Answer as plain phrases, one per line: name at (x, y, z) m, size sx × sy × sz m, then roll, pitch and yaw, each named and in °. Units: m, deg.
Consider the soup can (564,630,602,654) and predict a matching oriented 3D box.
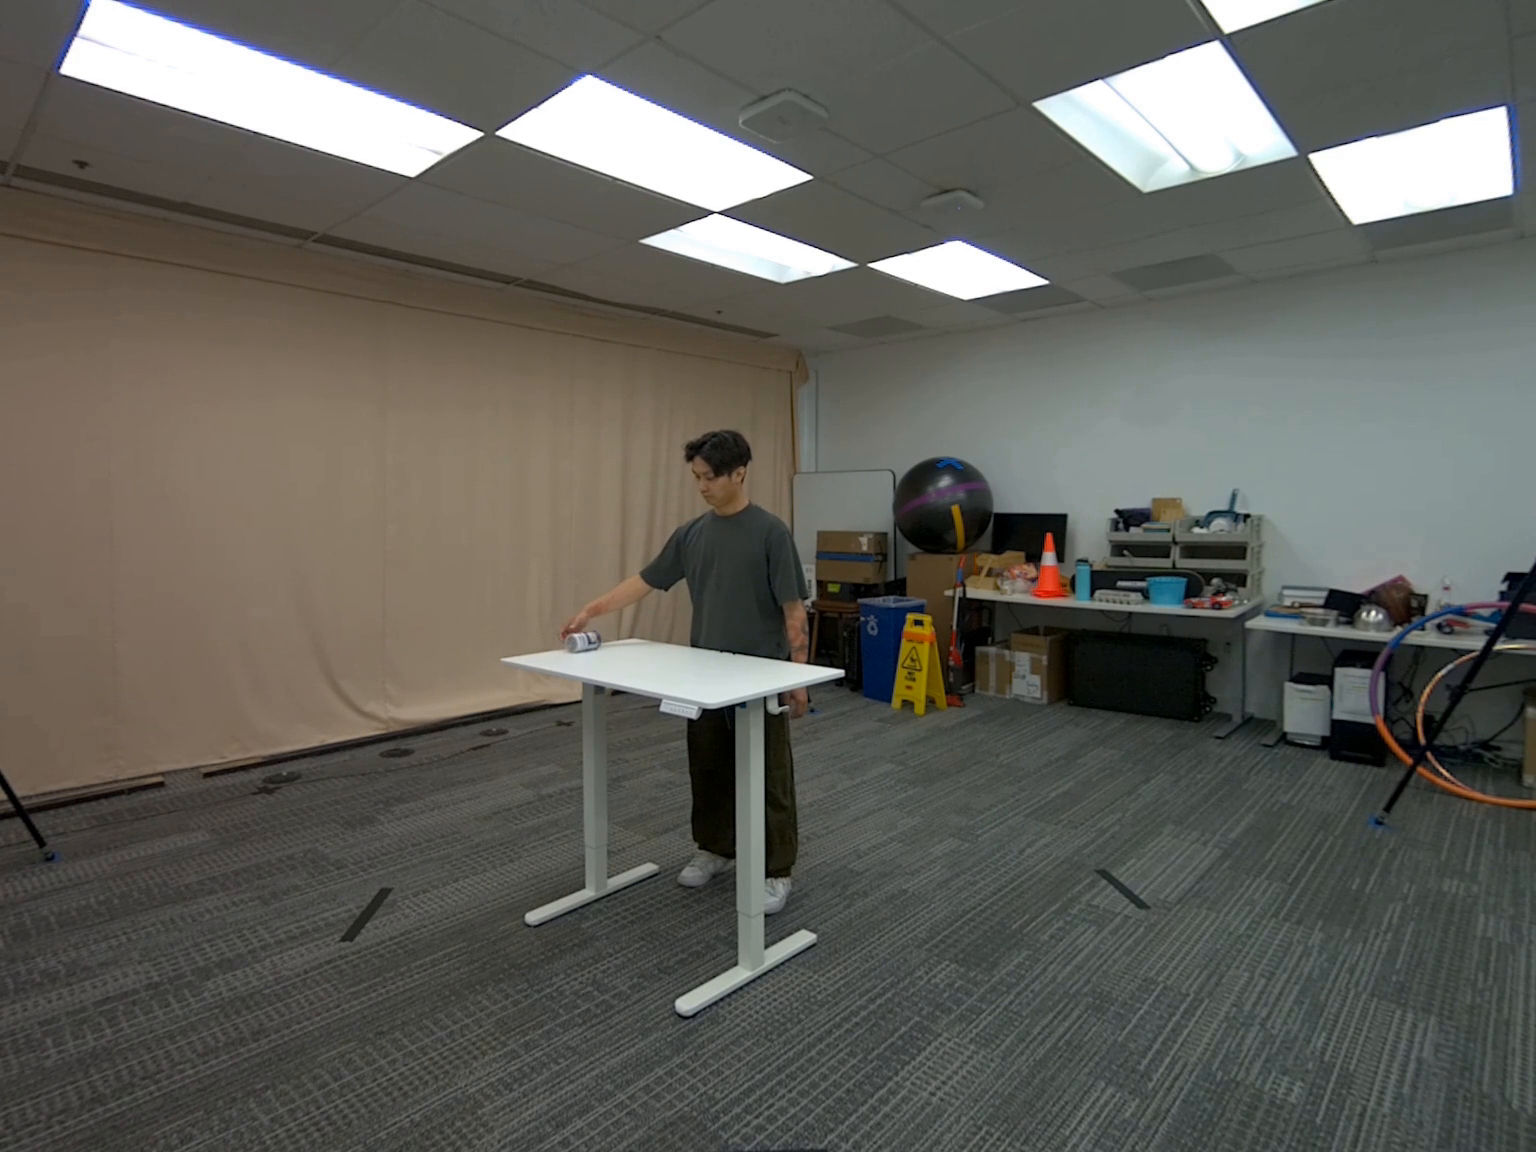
soup can at (-0.661, 0.236, 3.008) m, size 0.118 × 0.067 × 0.069 m, roll 1°, pitch 3°, yaw -31°
